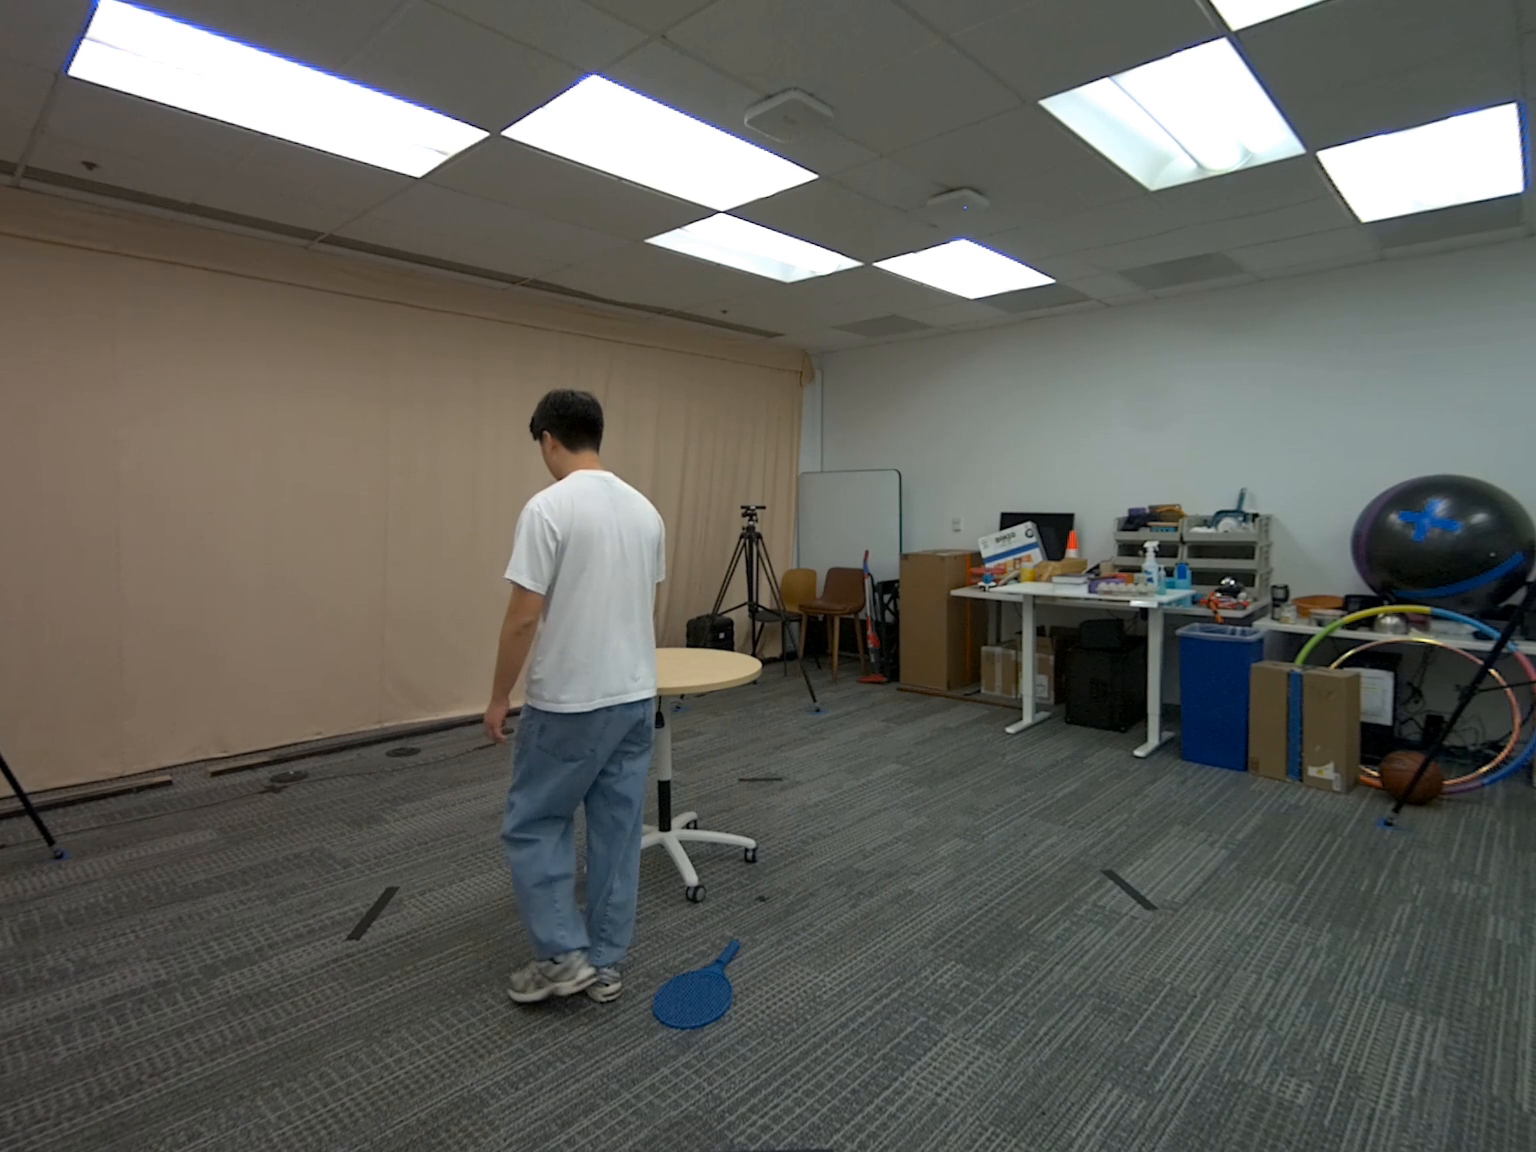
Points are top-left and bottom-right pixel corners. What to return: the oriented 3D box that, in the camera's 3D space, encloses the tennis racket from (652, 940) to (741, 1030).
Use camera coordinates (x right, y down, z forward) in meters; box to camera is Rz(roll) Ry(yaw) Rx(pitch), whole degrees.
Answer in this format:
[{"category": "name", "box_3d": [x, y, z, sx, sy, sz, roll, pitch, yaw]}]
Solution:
[{"category": "tennis racket", "box_3d": [-0.177, 1.176, 2.438, 0.219, 0.031, 0.424, 3, 8, 23]}]
